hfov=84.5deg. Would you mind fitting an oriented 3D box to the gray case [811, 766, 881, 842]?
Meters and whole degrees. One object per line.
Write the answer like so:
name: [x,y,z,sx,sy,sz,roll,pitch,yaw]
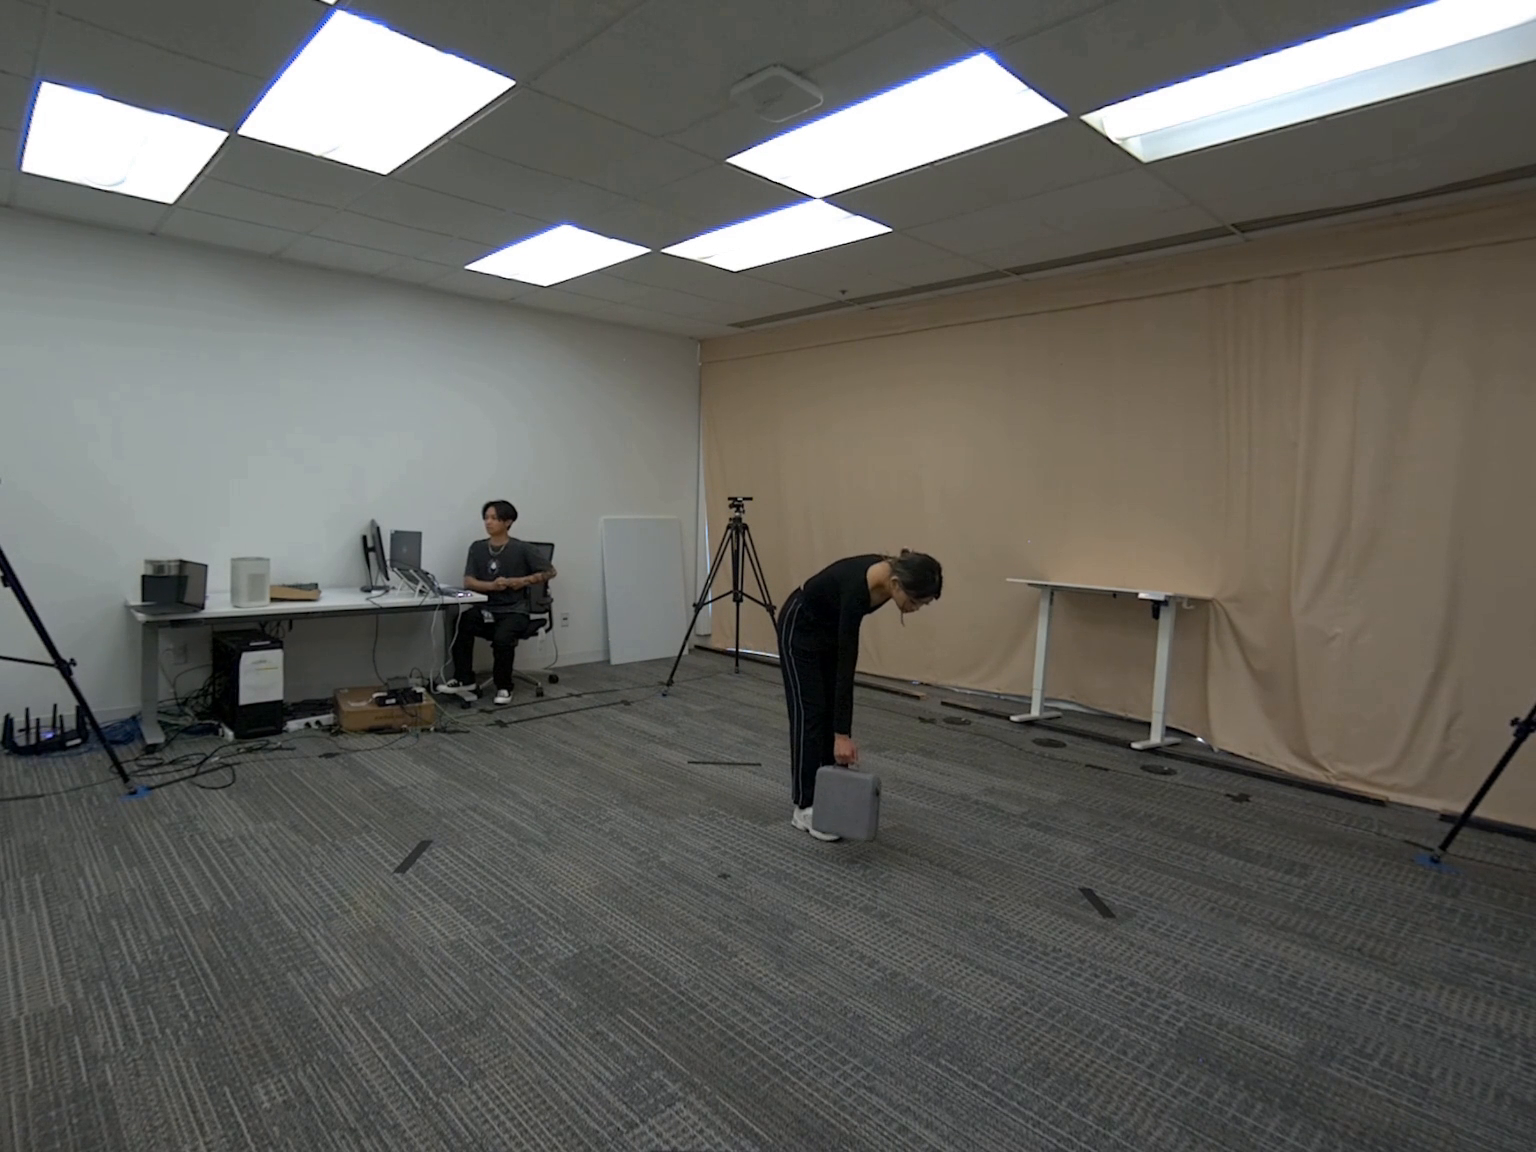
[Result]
gray case: [0.294,0.876,3.280,0.262,0.261,0.102,0,-6,33]
